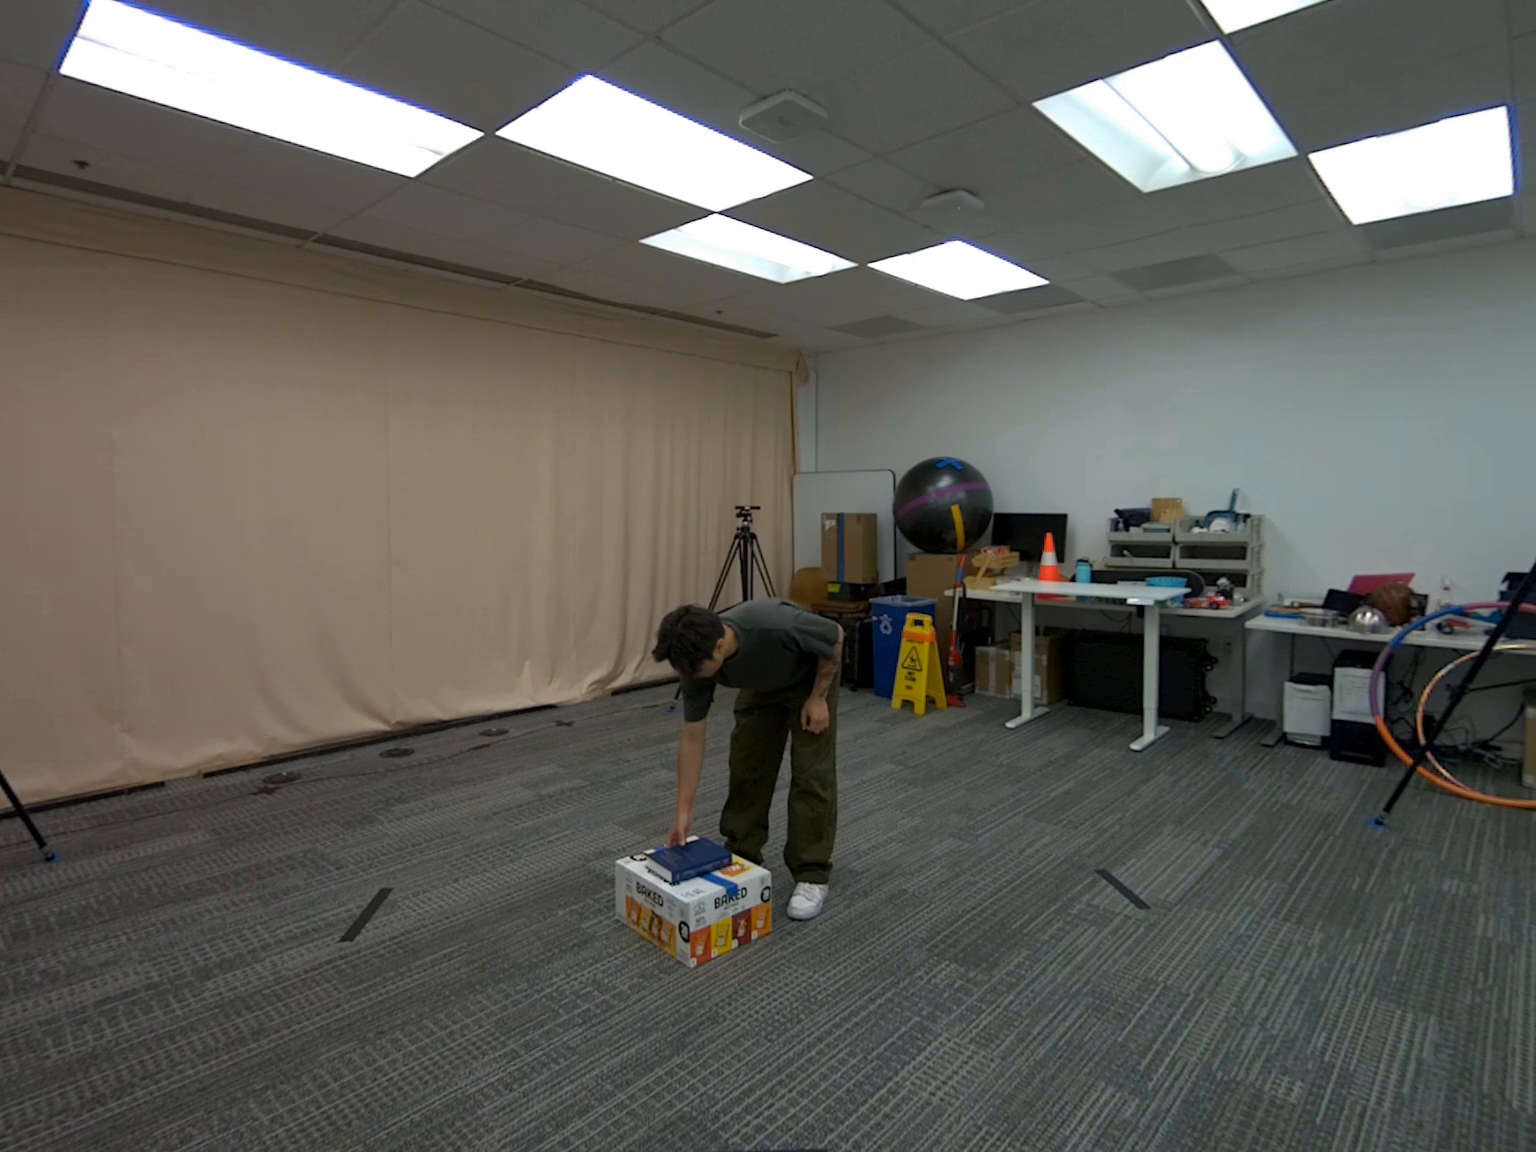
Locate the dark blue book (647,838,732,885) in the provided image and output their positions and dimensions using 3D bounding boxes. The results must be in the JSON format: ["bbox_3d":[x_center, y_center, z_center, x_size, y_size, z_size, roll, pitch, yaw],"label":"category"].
[{"bbox_3d":[-0.259,0.947,2.793,0.238,0.045,0.169,-4,6,-37],"label":"dark blue book"}]
